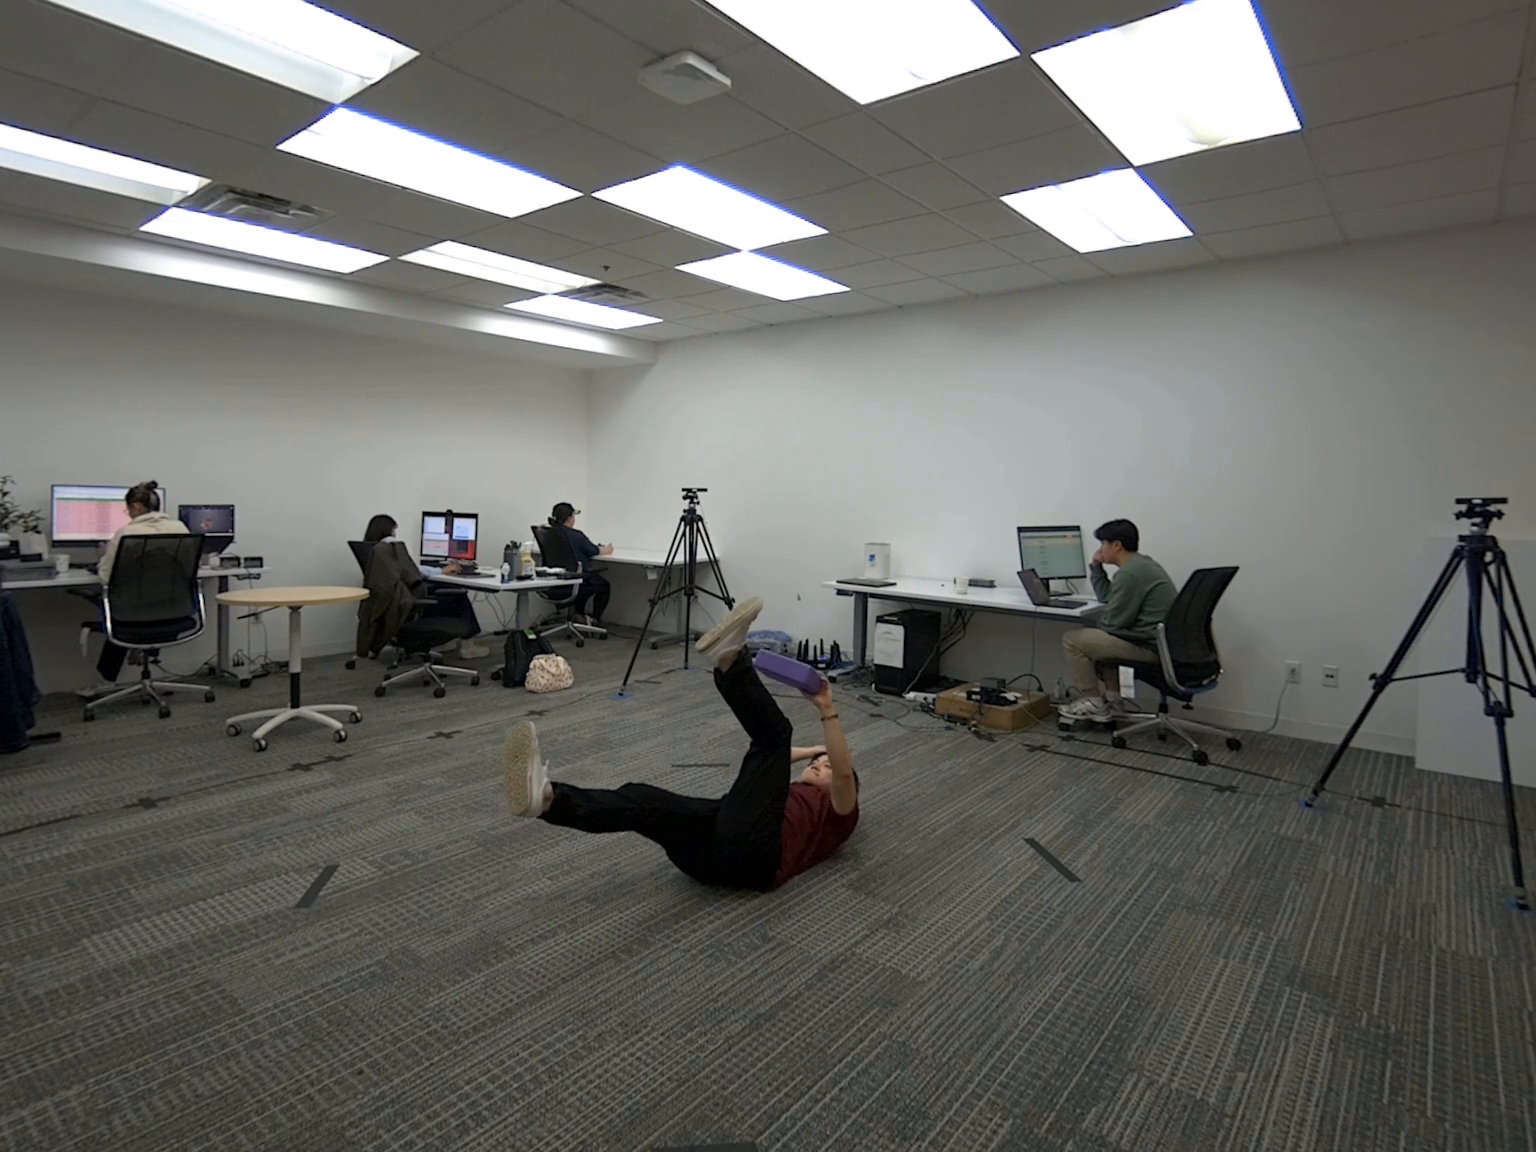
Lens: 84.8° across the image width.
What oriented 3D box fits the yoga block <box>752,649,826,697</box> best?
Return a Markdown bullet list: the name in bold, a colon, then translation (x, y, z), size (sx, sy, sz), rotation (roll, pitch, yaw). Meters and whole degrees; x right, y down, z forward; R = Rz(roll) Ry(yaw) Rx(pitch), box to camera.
- **yoga block**: translation (0.066, 0.351, 3.171), size (0.237, 0.077, 0.143), rotation (16, -16, 29)
